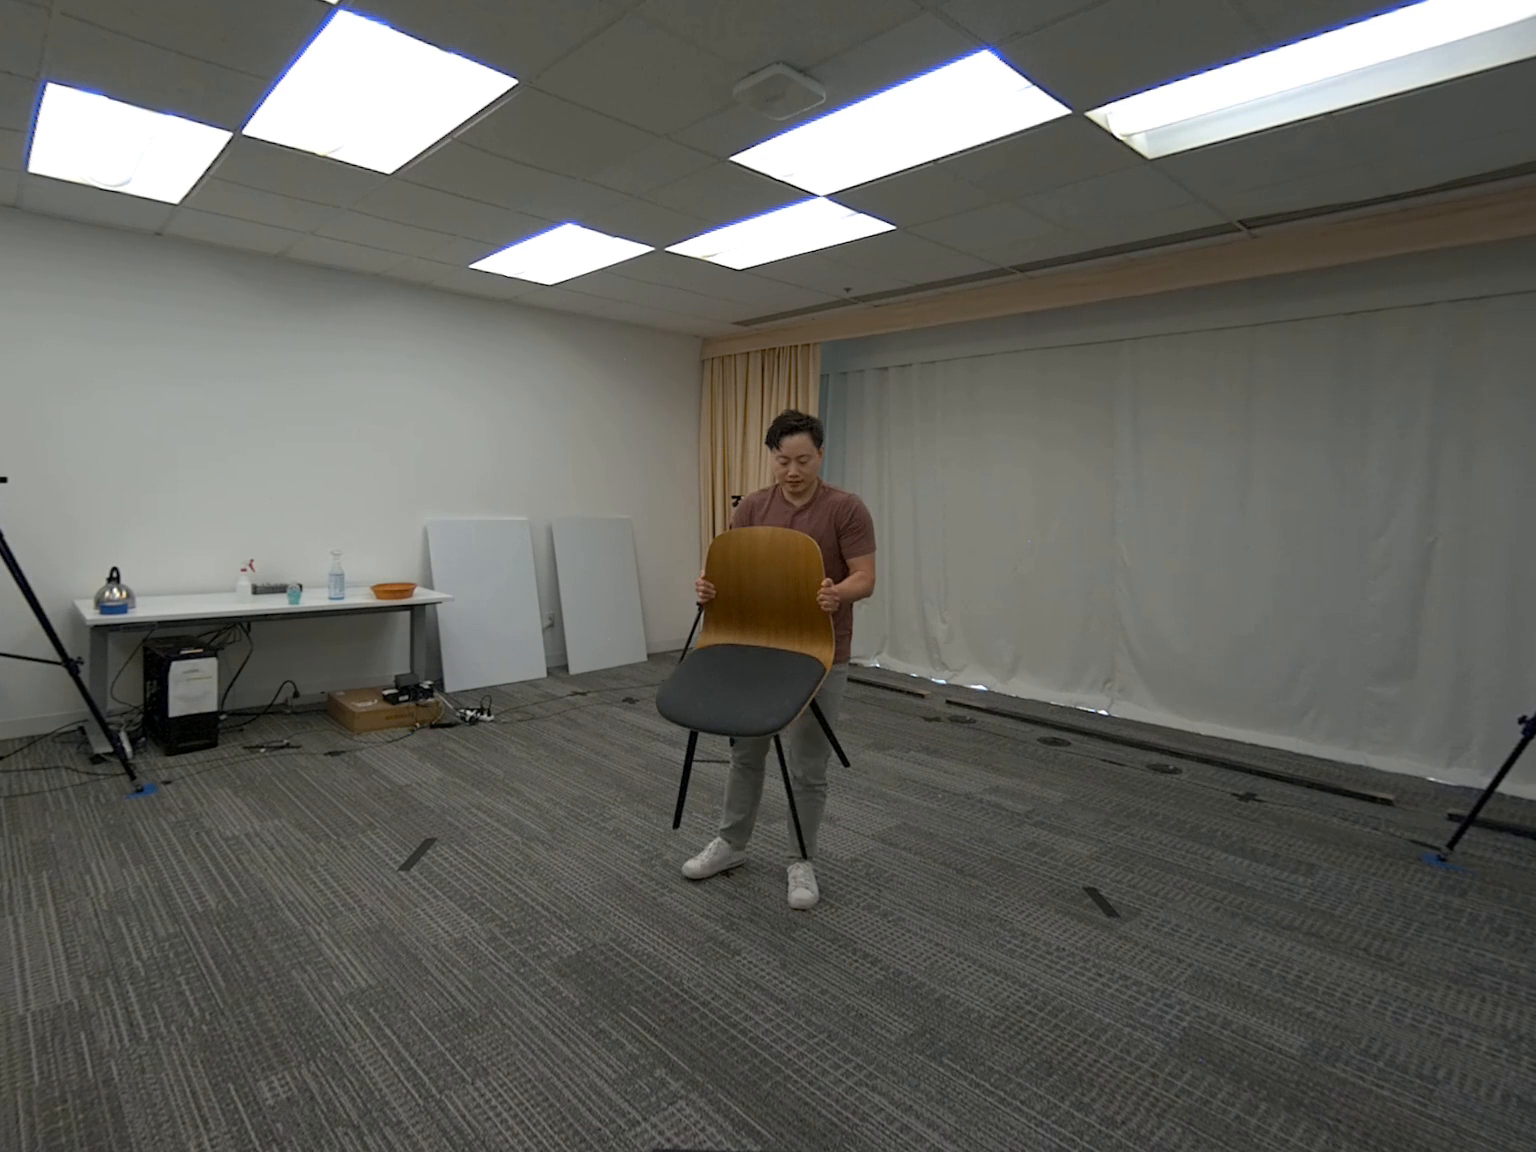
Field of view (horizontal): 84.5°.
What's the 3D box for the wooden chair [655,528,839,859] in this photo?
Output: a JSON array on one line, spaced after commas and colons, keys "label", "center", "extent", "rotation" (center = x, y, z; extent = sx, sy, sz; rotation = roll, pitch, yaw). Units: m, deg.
[{"label": "wooden chair", "center": [-0.068, 0.353, 2.592], "extent": [0.487, 0.864, 0.521], "rotation": [6, 22, 23]}]
